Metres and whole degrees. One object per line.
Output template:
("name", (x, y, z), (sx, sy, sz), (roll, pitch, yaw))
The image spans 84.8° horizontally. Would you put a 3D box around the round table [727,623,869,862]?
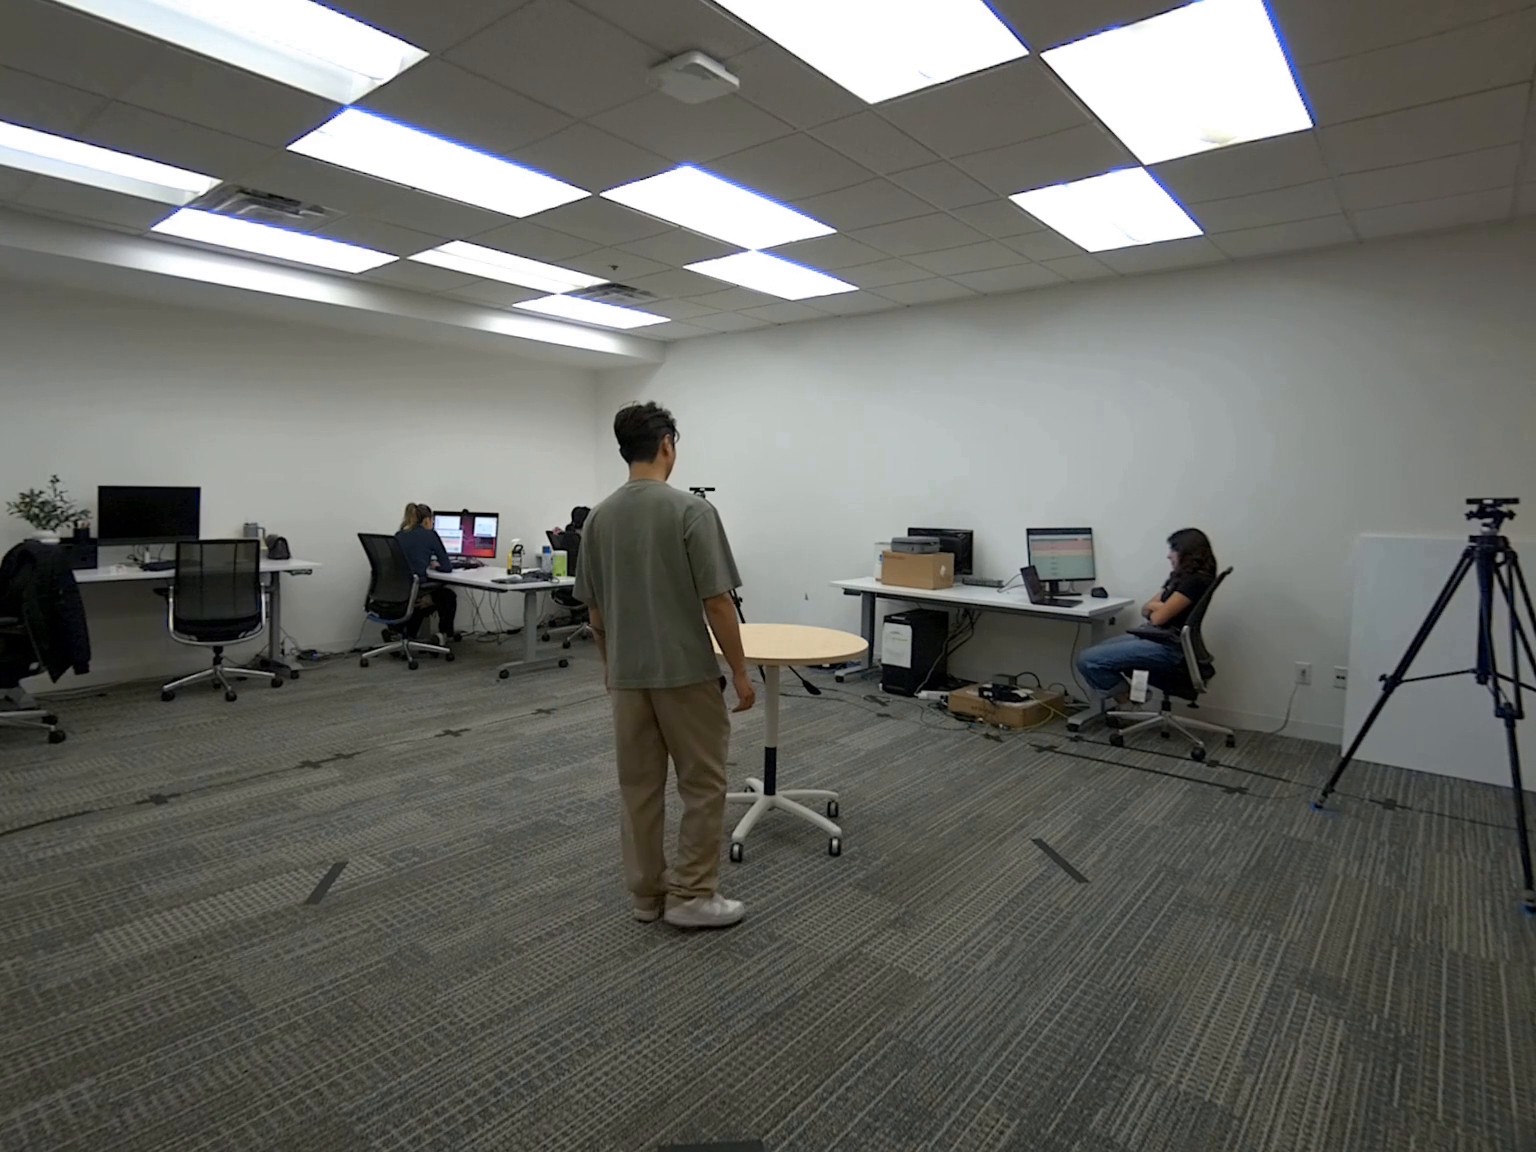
("round table", (-0.008, 0.643, 3.485), (0.784, 0.784, 0.789), (2, 4, -2))
